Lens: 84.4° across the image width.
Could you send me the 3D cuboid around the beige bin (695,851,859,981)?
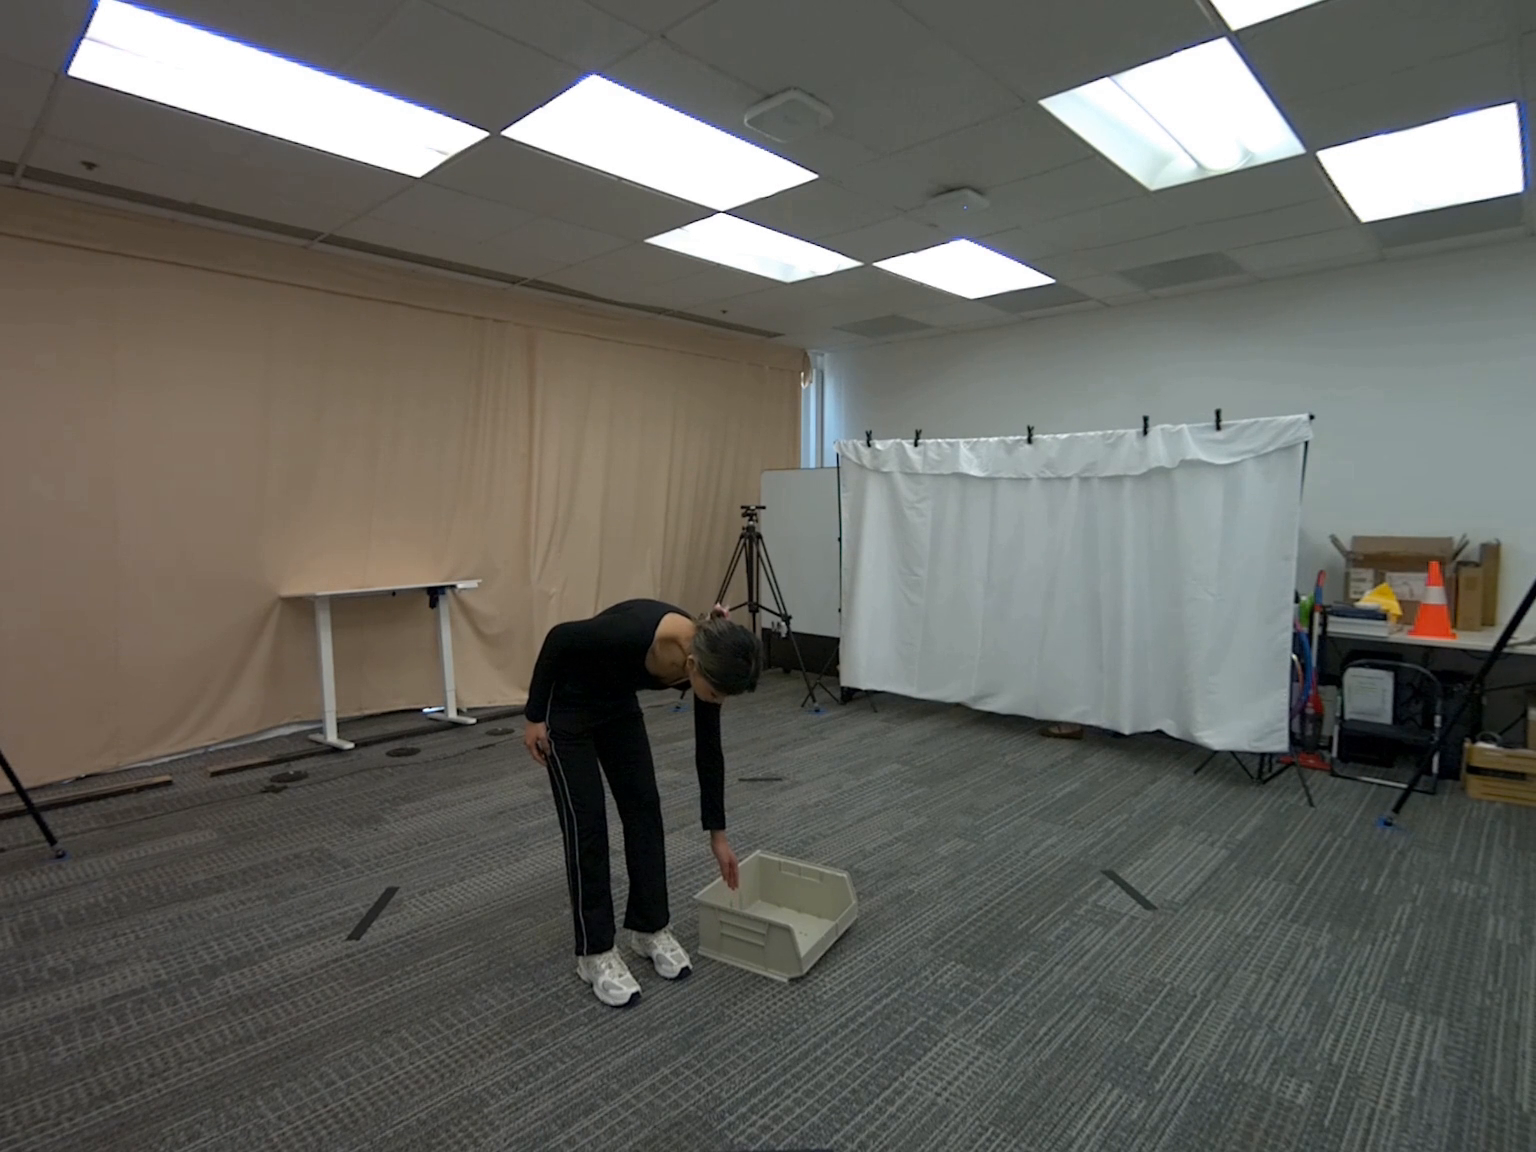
[{"bbox_3d":[0.034,1.082,2.697,0.388,0.188,0.411,2,6,30],"label":"beige bin"}]
